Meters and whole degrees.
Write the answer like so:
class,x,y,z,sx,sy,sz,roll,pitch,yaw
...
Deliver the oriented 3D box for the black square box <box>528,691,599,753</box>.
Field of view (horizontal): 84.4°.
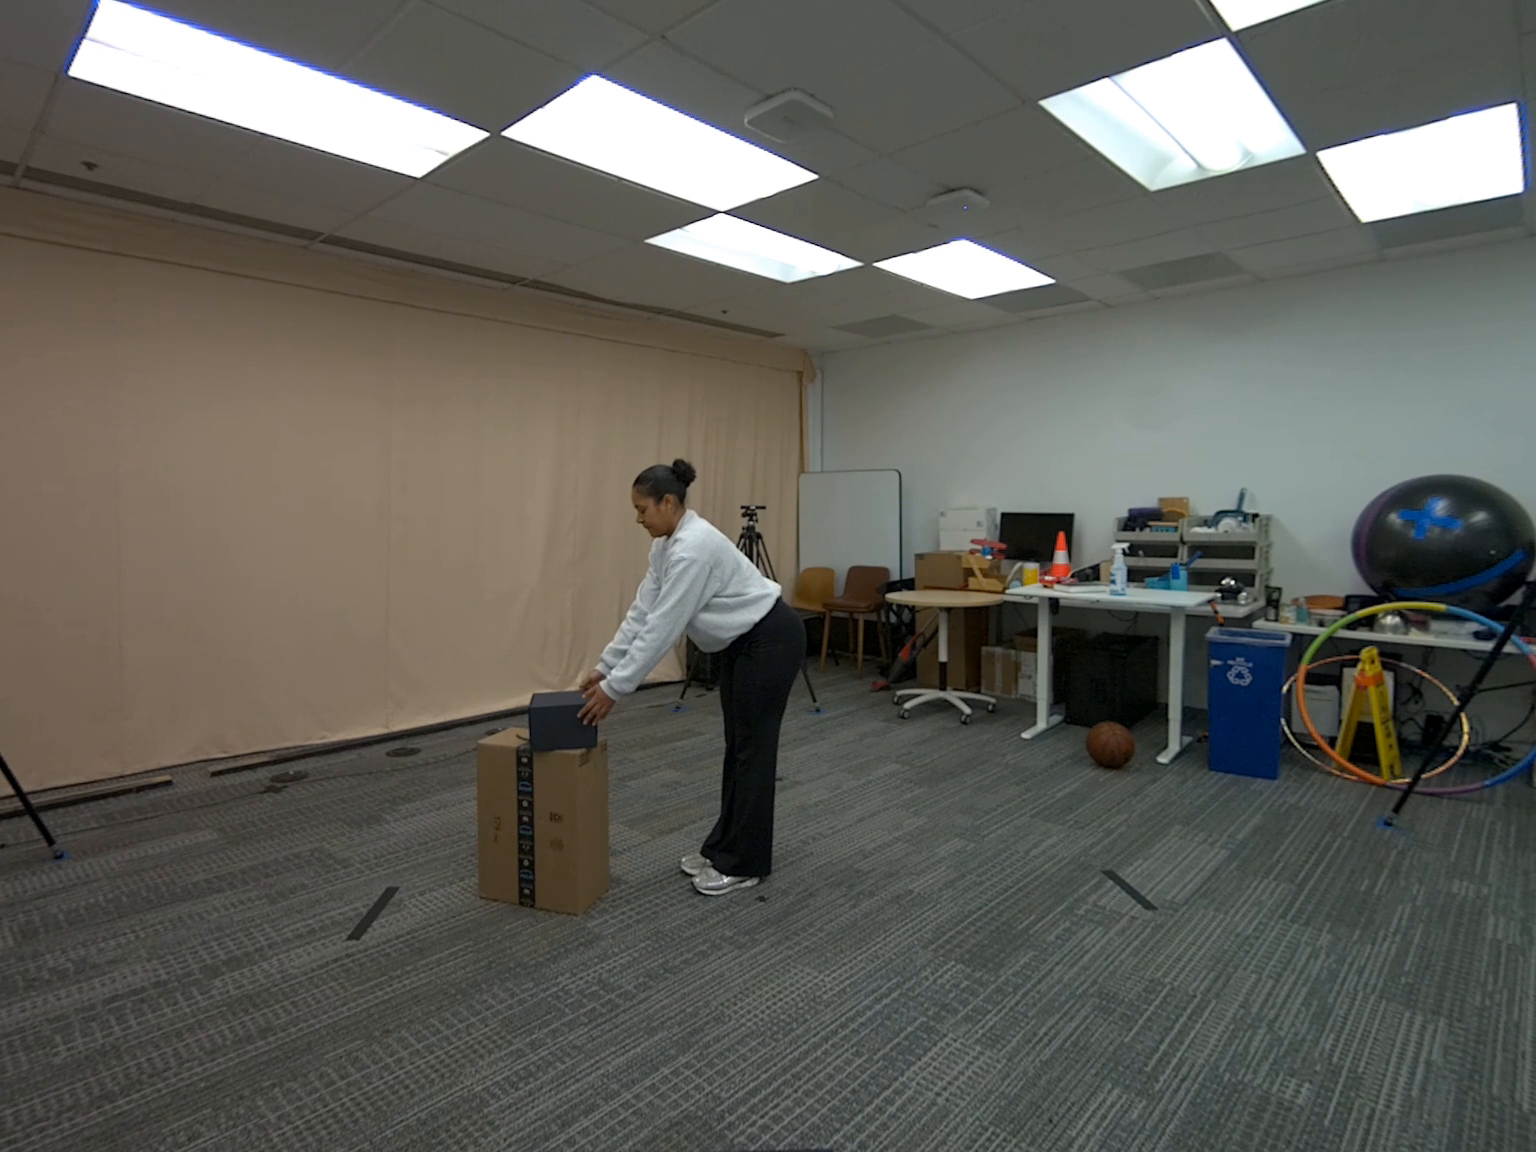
class,x,y,z,sx,sy,sz,roll,pitch,yaw
black square box,-0.718,0.504,2.976,0.226,0.155,0.219,-3,5,-9
